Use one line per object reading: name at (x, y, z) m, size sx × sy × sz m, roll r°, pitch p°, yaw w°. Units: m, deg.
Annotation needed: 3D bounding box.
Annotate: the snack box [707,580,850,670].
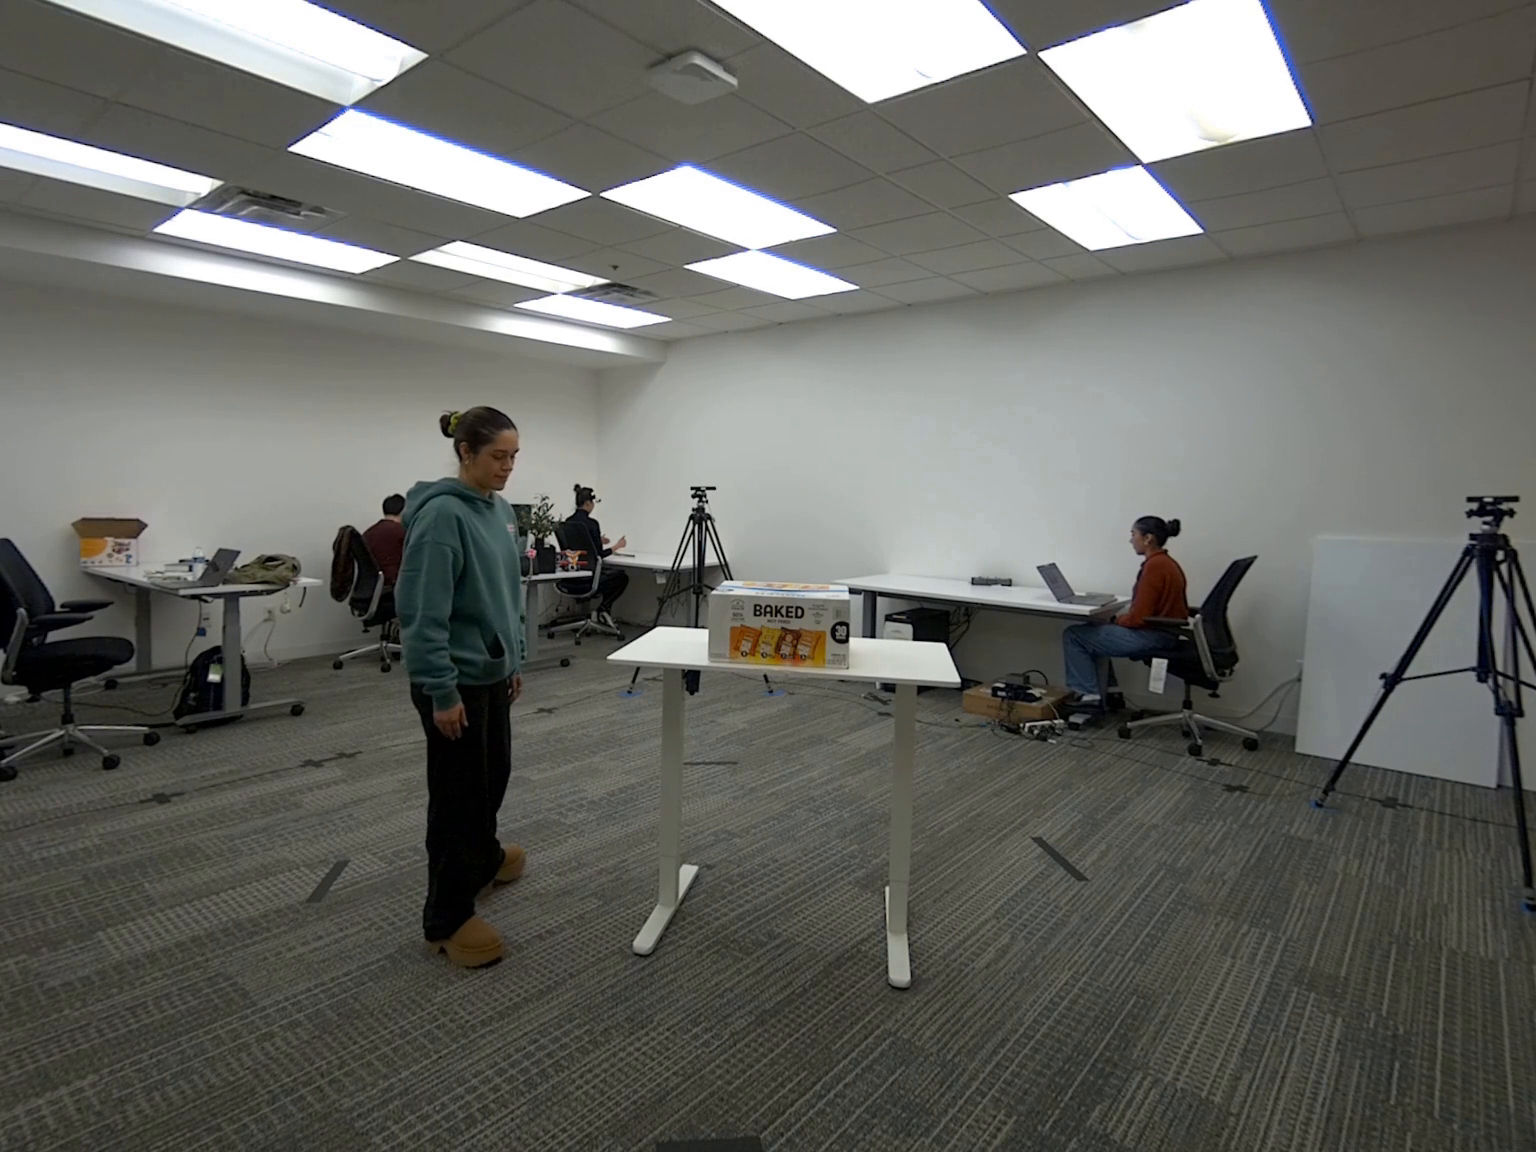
snack box at (0.035, 0.141, 2.596) m, size 0.409 × 0.205 × 0.339 m, roll 2°, pitch 5°, yaw 7°
